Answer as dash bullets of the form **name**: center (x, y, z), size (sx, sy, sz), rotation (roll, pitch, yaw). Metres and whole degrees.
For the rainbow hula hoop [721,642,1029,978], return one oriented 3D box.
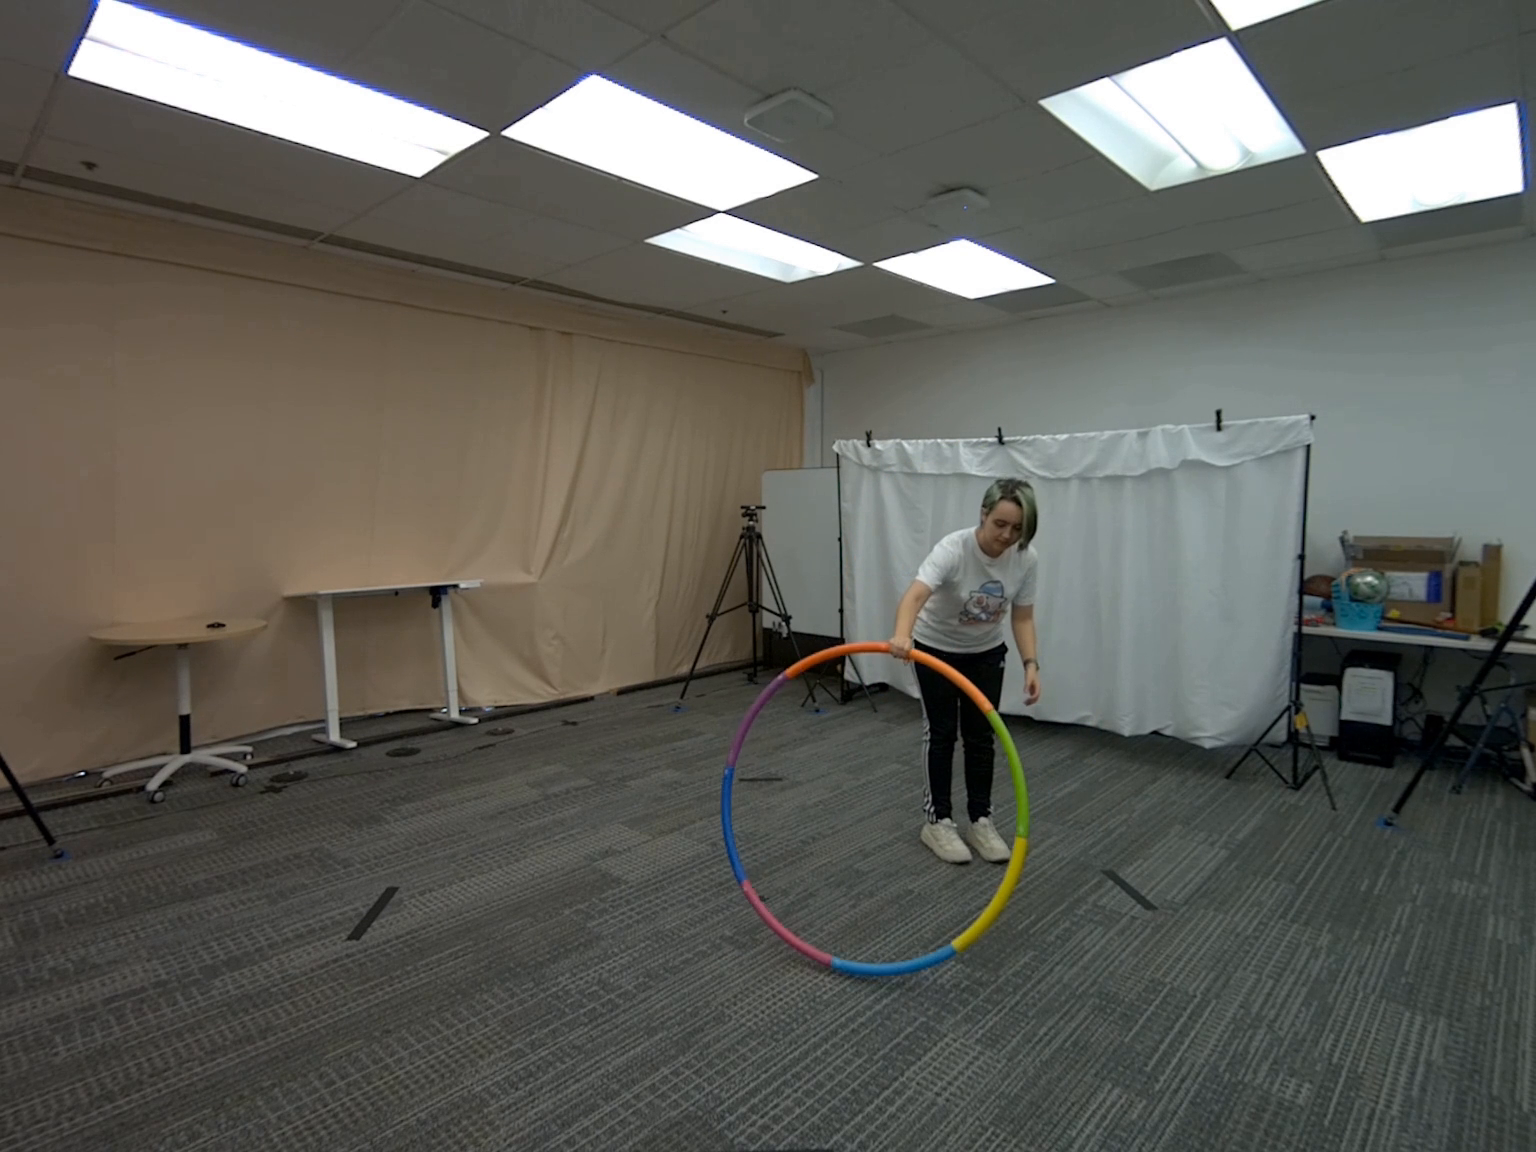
- **rainbow hula hoop**: center (0.313, 0.691, 2.651), size (1.005, 0.985, 0.034), rotation (1, -19, 26)
